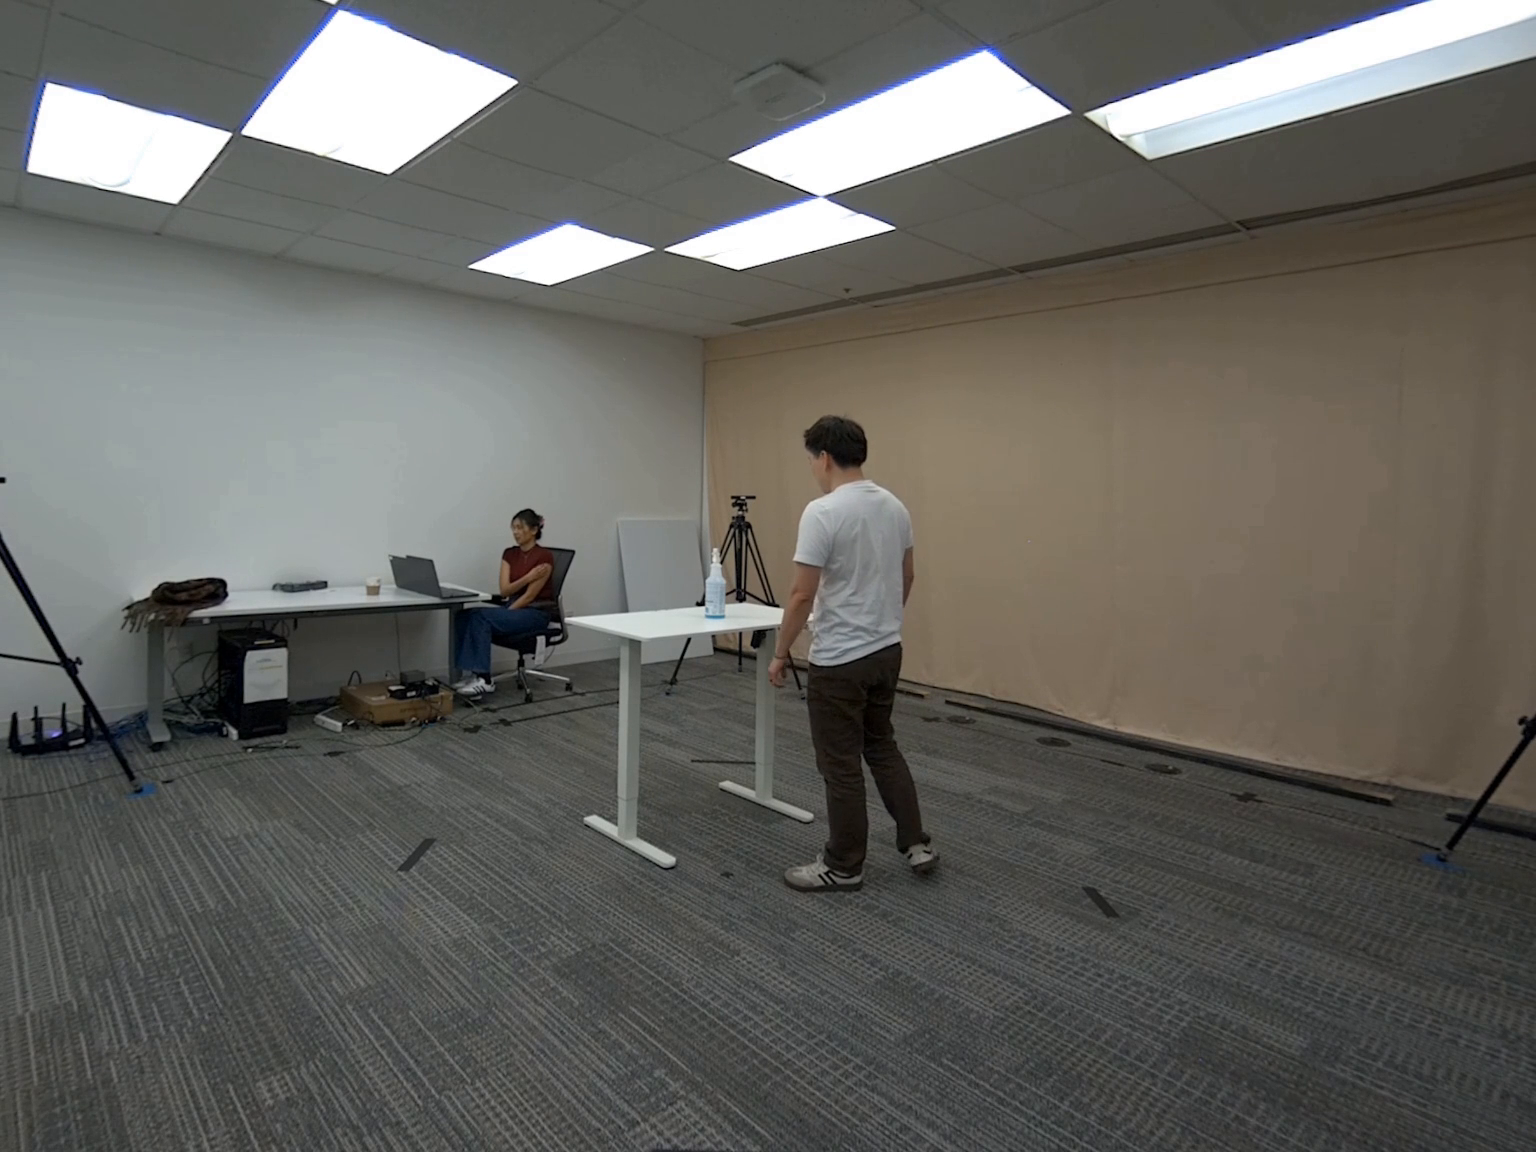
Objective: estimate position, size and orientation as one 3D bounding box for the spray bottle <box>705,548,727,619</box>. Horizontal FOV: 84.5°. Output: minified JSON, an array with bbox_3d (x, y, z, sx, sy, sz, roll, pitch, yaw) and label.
[{"bbox_3d":[-0.228,0.033,3.570,0.089,0.296,0.088,5,6,27],"label":"spray bottle"}]
